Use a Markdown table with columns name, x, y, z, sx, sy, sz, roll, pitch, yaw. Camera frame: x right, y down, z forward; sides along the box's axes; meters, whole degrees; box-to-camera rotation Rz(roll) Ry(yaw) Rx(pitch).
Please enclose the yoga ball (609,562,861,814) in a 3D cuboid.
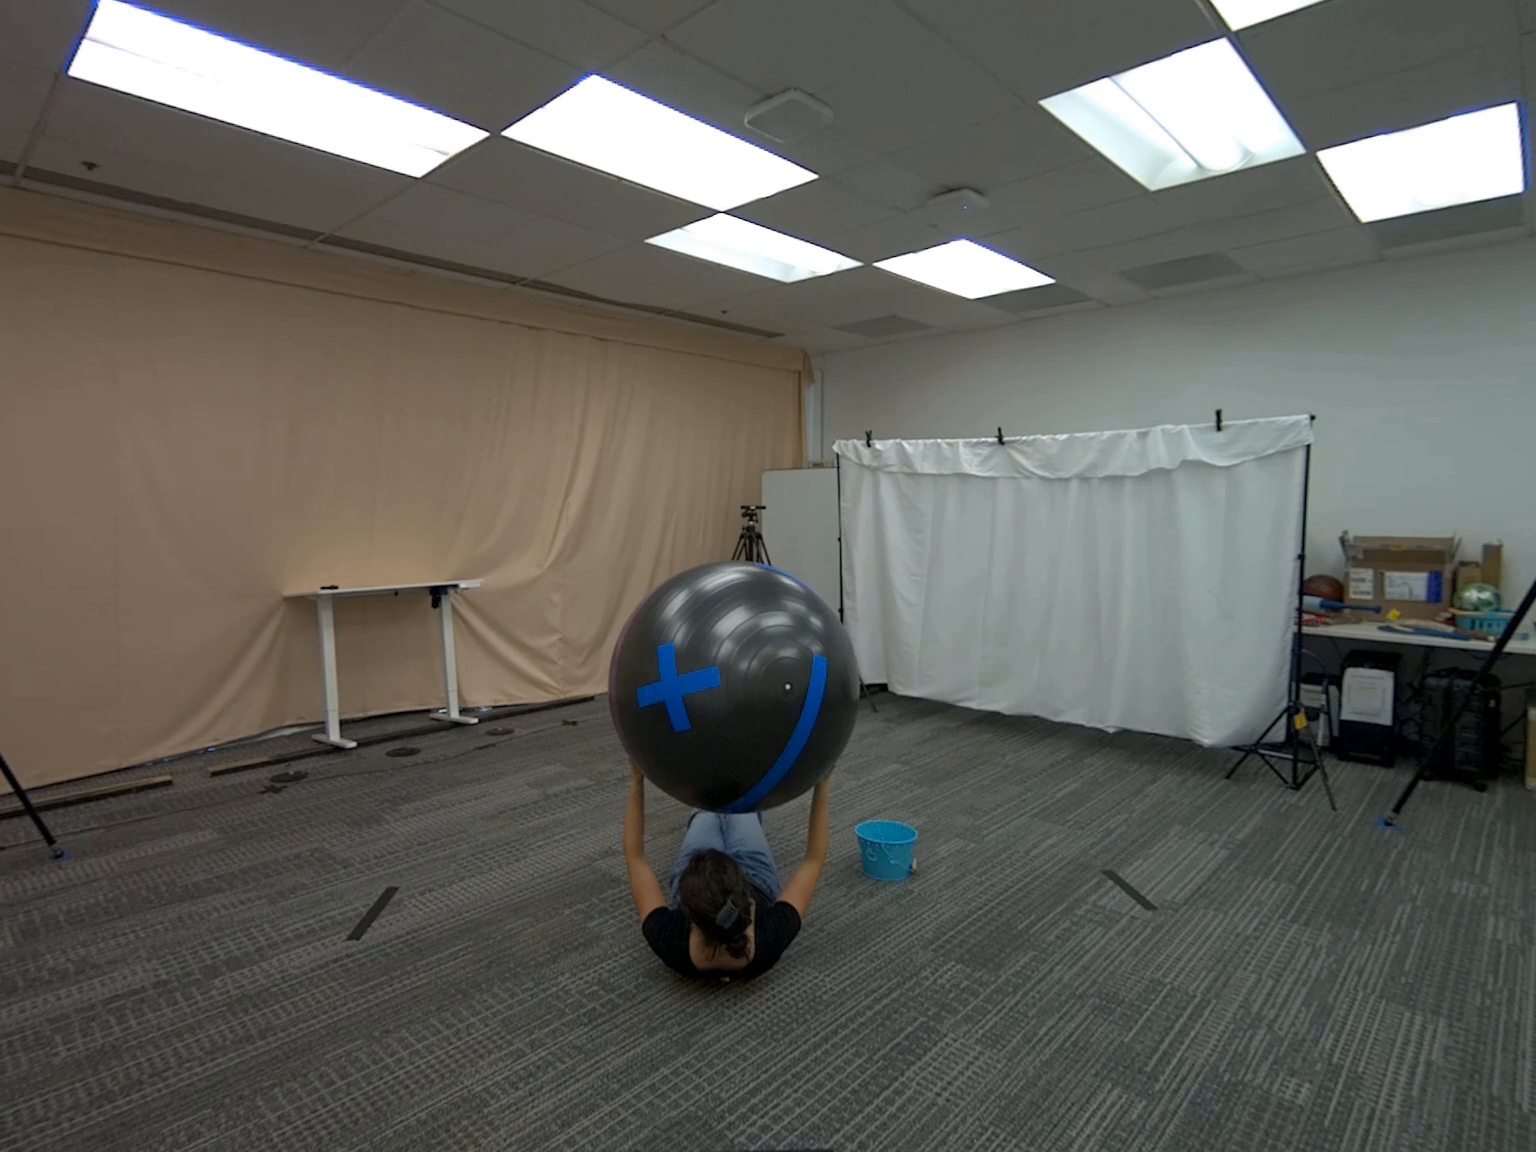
| name | x | y | z | sx | sy | sz | roll | pitch | yaw |
| --- | --- | --- | --- | --- | --- | --- | --- | --- | --- |
| yoga ball | -0.103 | 0.336 | 2.570 | 0.757 | 0.756 | 0.760 | 0 | 4 | -2 |
